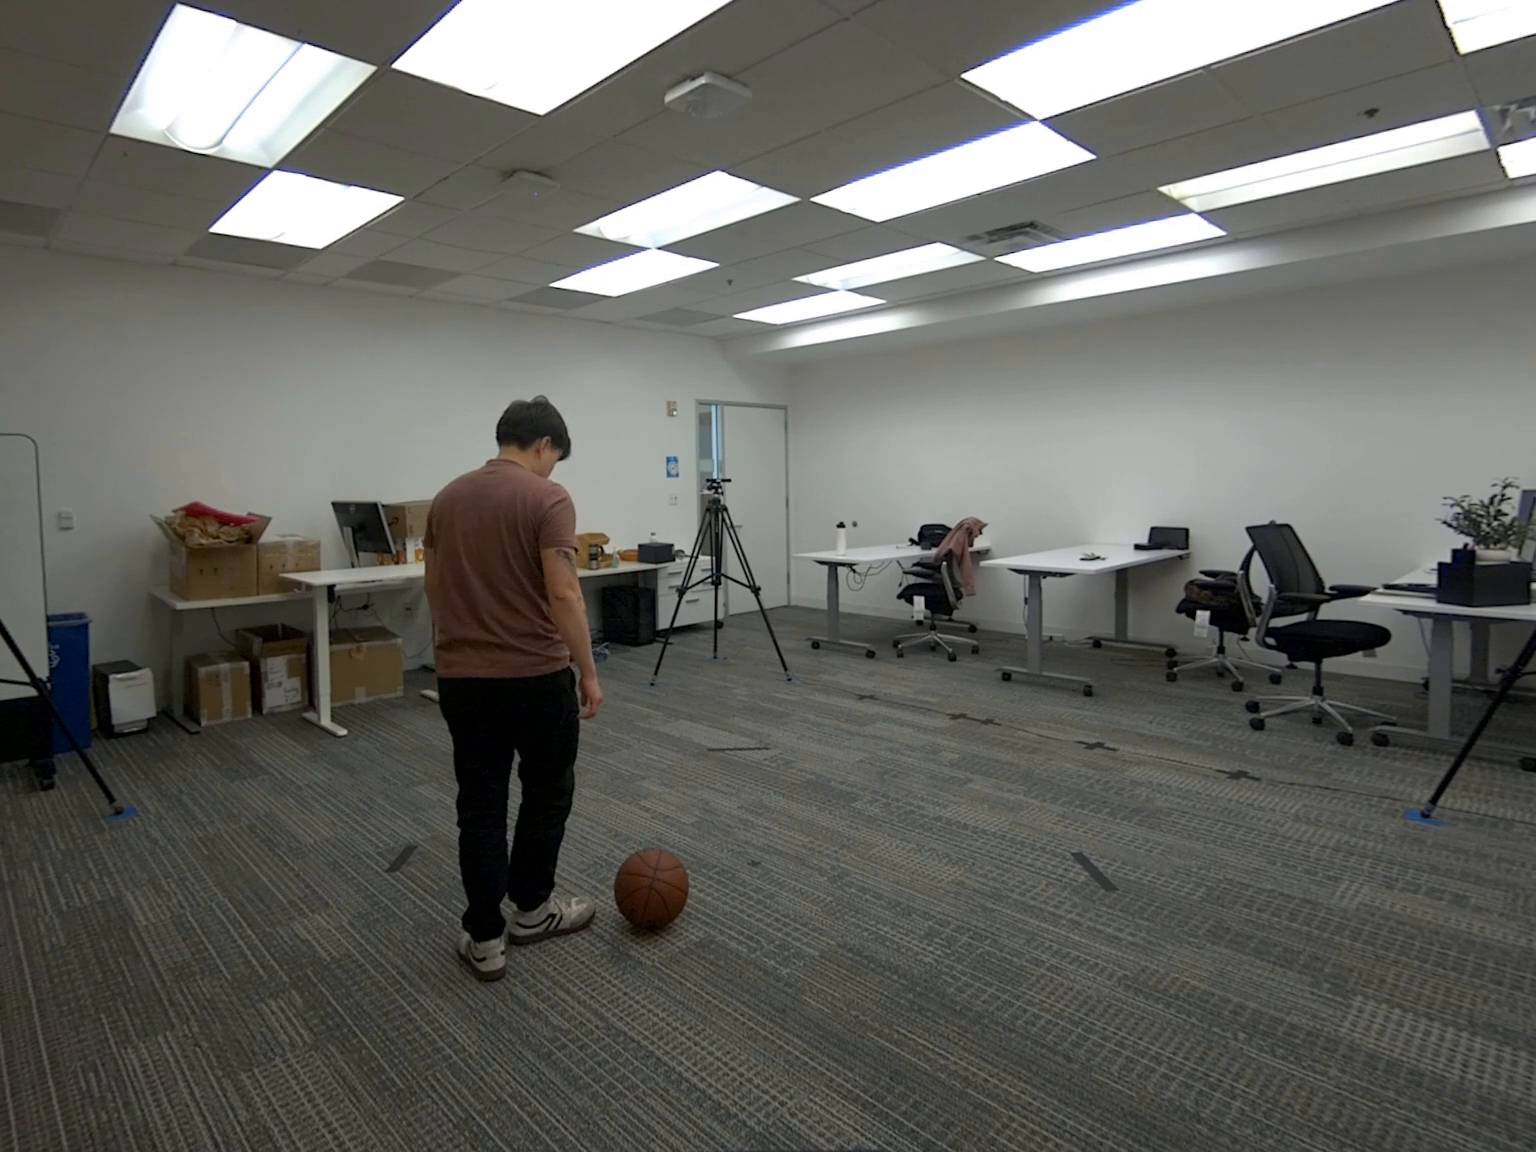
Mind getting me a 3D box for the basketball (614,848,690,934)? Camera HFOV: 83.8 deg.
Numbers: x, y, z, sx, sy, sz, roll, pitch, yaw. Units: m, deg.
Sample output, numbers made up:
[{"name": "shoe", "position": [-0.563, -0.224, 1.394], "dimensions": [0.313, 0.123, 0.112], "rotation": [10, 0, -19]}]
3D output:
[{"name": "basketball", "position": [-0.359, 0.982, 2.685], "dimensions": [0.236, 0.235, 0.237], "rotation": [-1, 5, -2]}]
